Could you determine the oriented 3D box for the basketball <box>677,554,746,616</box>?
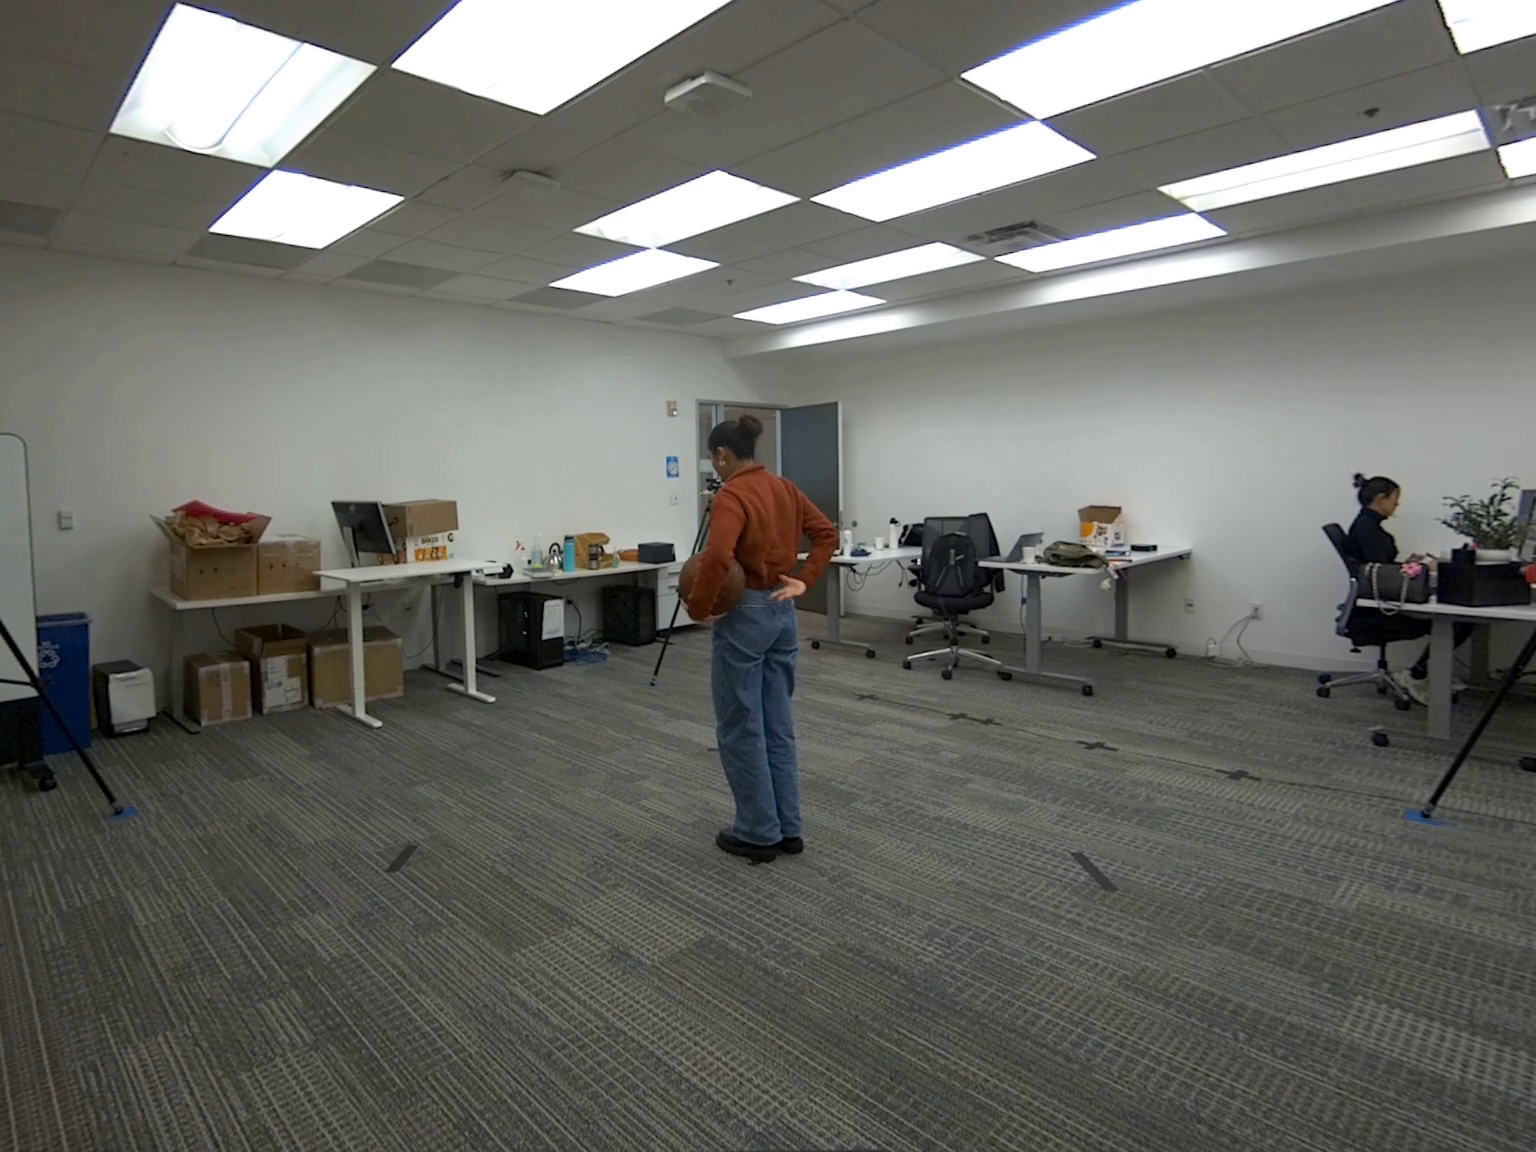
[{"bbox_3d":[-0.192,0.026,3.022,0.236,0.235,0.237,-1,5,-2],"label":"basketball"}]
